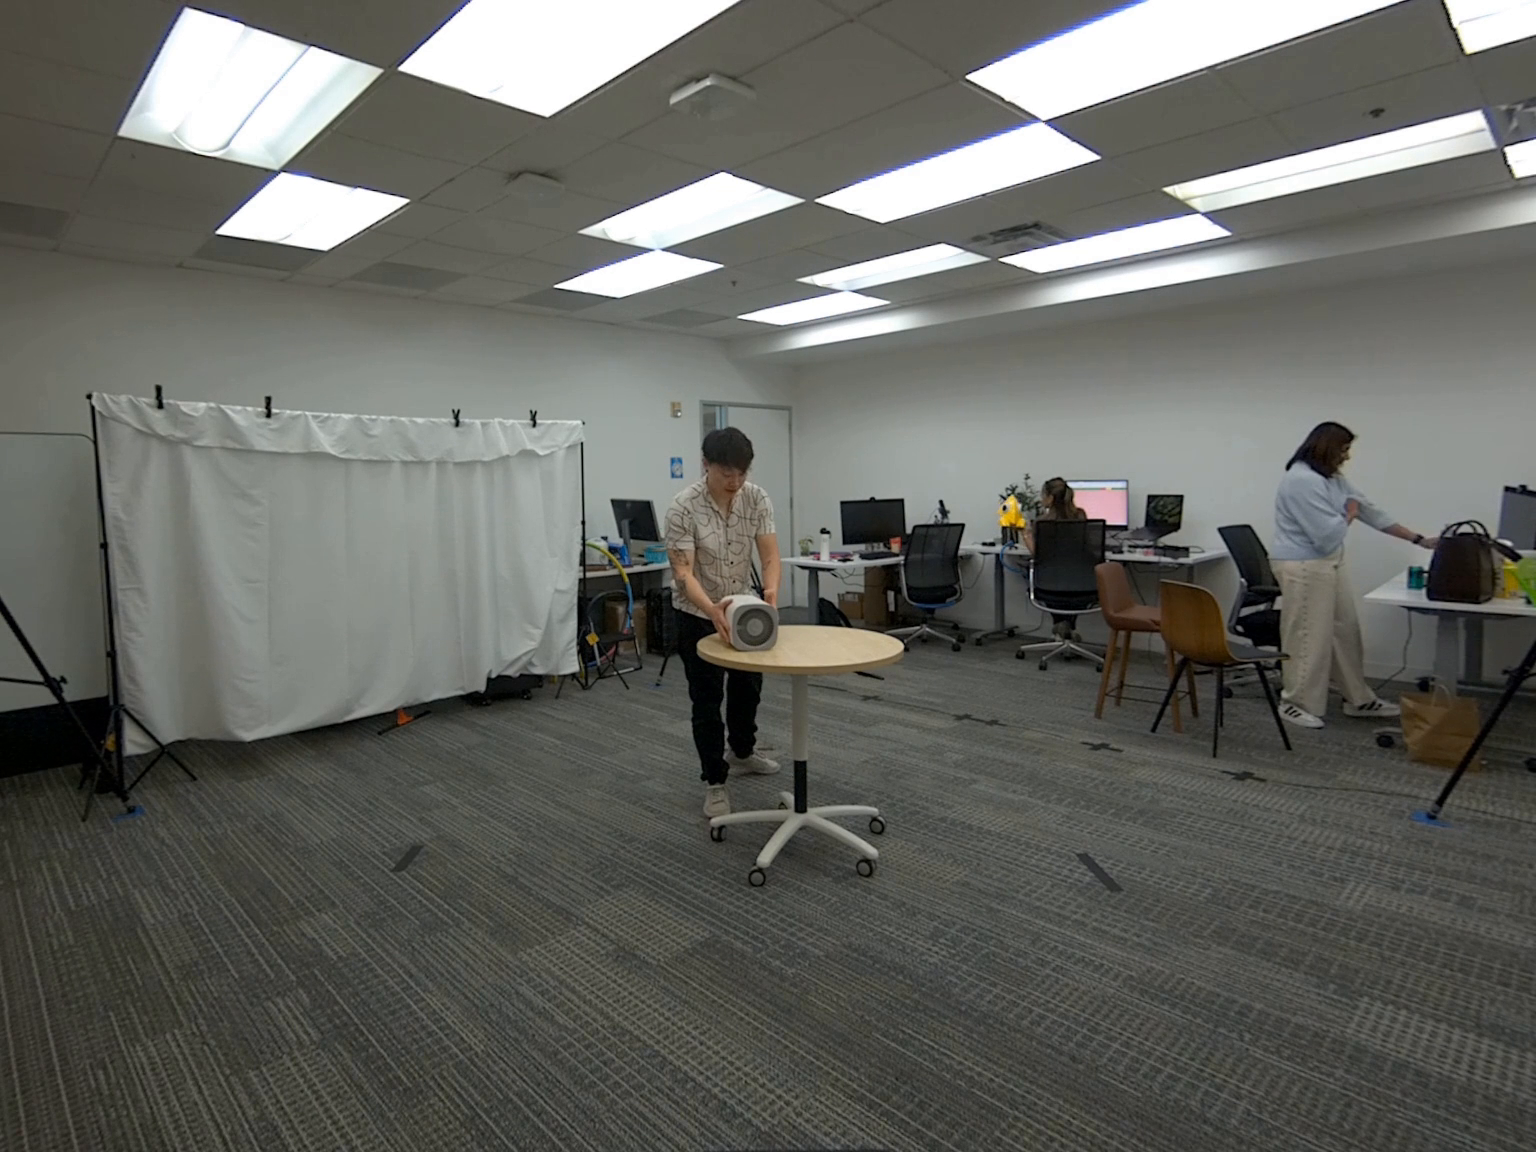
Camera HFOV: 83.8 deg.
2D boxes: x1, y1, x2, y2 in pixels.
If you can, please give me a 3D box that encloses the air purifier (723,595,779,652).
[{"bbox_3d":[-0.075,0.173,3.182,0.170,0.170,0.269,-2,6,-12],"label":"air purifier"}]
